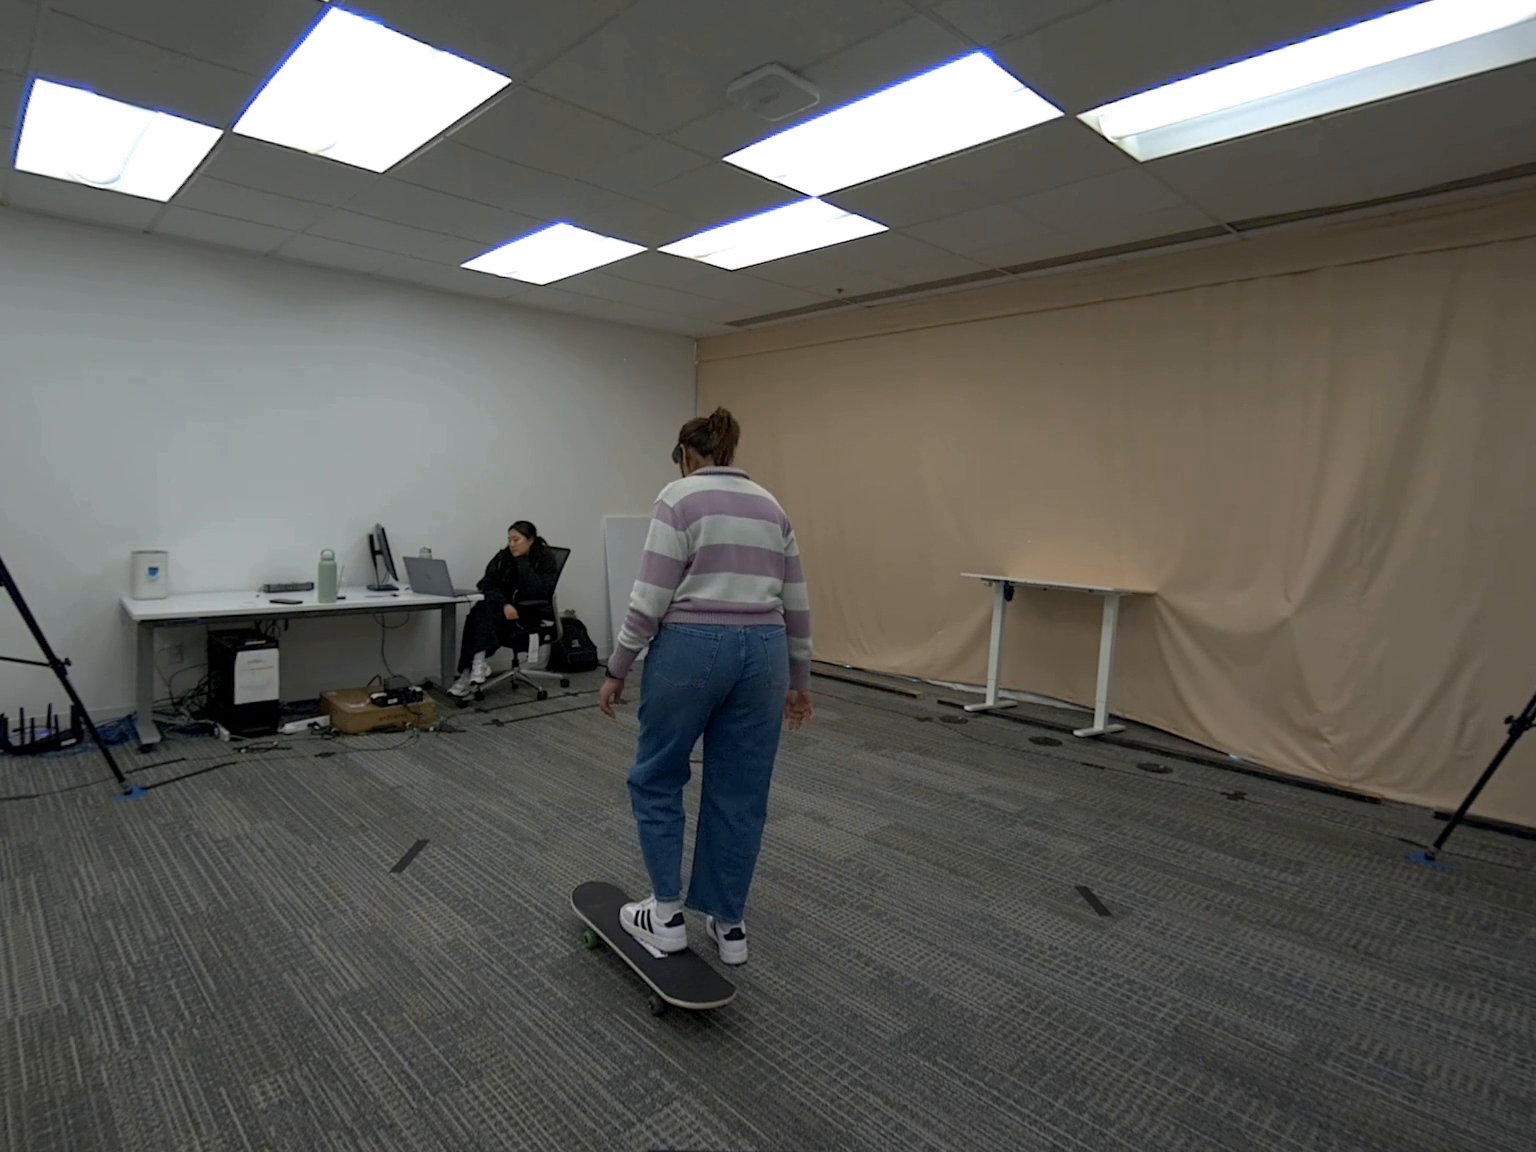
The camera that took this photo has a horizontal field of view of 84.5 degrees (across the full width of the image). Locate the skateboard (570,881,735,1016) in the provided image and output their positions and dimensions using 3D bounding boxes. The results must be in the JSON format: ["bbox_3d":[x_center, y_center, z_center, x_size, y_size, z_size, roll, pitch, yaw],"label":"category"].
[{"bbox_3d":[-0.381,1.104,2.476,0.189,0.110,0.805,3,4,-35],"label":"skateboard"}]
